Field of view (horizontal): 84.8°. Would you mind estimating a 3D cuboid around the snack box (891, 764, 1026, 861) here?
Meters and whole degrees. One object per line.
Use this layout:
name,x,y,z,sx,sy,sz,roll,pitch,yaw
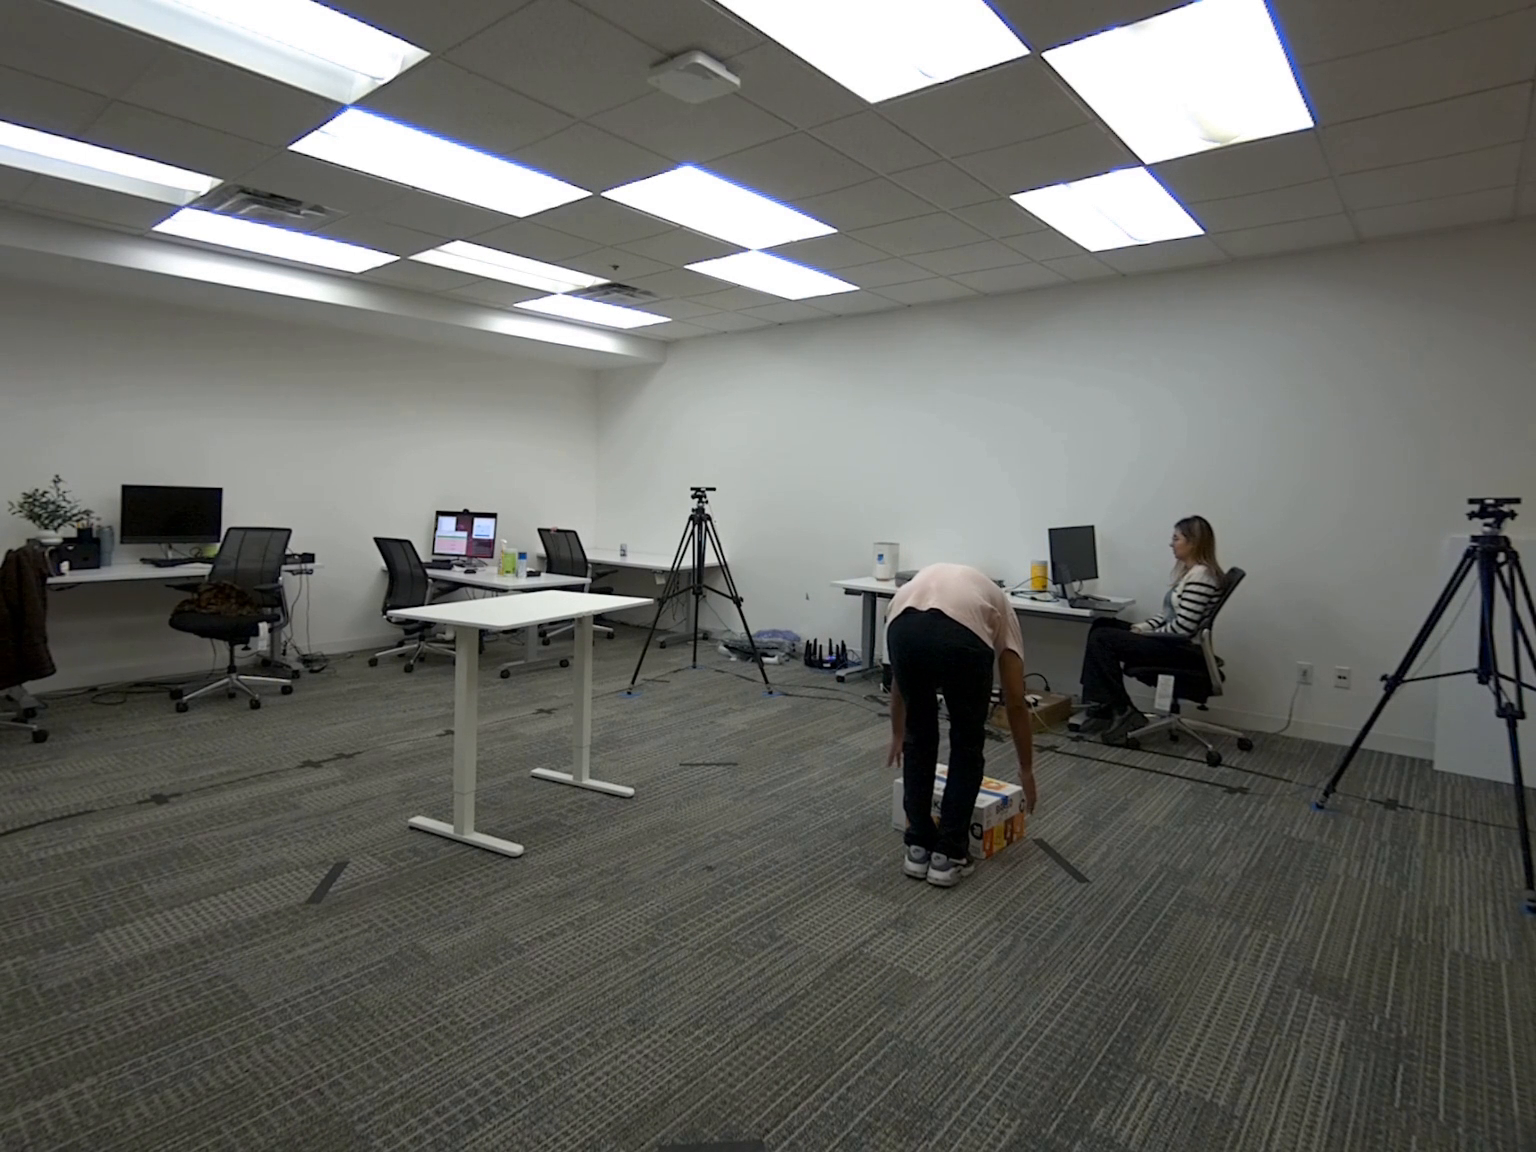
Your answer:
snack box,0.773,0.948,3.487,0.419,0.205,0.330,7,7,44
